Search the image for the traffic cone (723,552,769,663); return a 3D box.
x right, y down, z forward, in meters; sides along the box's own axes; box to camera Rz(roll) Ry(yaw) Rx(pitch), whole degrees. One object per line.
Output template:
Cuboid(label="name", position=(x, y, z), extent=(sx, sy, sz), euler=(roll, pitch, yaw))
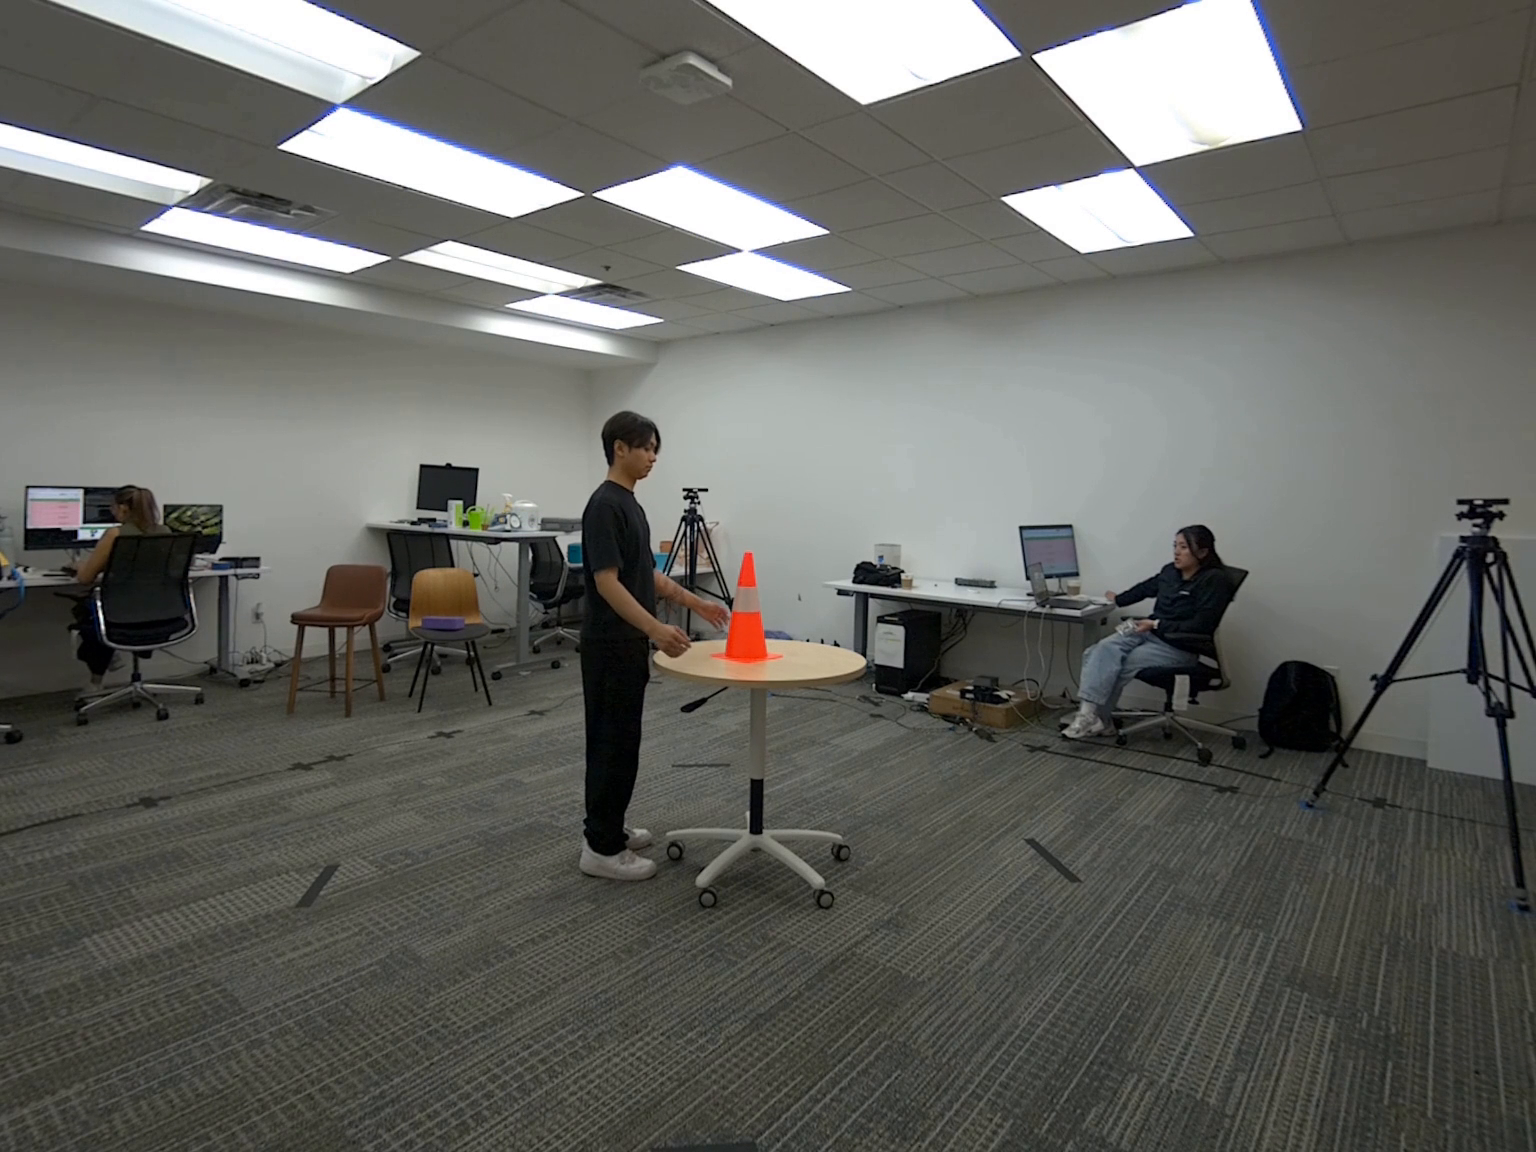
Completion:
Cuboid(label="traffic cone", position=(-0.082, 0.106, 3.083), extent=(0.211, 0.382, 0.198), euler=(4, 5, 34))
